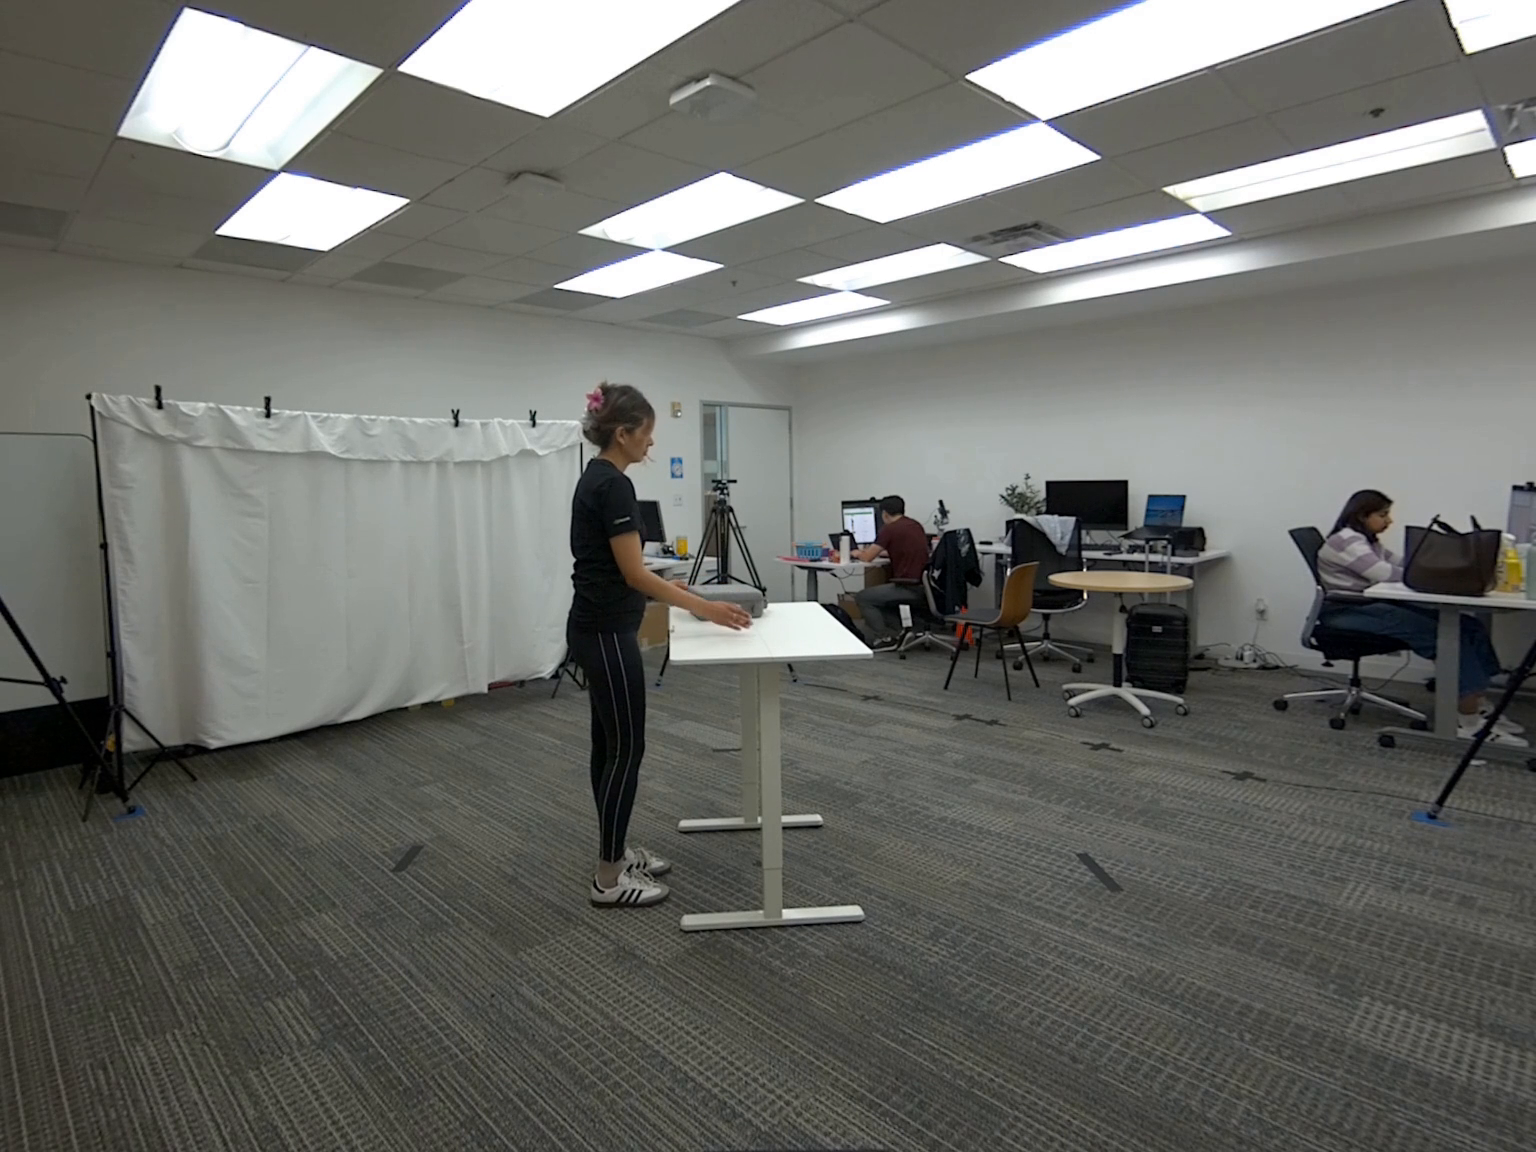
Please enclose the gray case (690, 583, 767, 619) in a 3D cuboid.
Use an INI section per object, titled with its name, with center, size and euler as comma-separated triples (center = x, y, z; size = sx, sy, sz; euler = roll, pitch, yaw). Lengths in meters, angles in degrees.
[gray case]
center = -0.157, 0.096, 3.253
size = 0.257, 0.104, 0.262
euler = -2, 6, -16
